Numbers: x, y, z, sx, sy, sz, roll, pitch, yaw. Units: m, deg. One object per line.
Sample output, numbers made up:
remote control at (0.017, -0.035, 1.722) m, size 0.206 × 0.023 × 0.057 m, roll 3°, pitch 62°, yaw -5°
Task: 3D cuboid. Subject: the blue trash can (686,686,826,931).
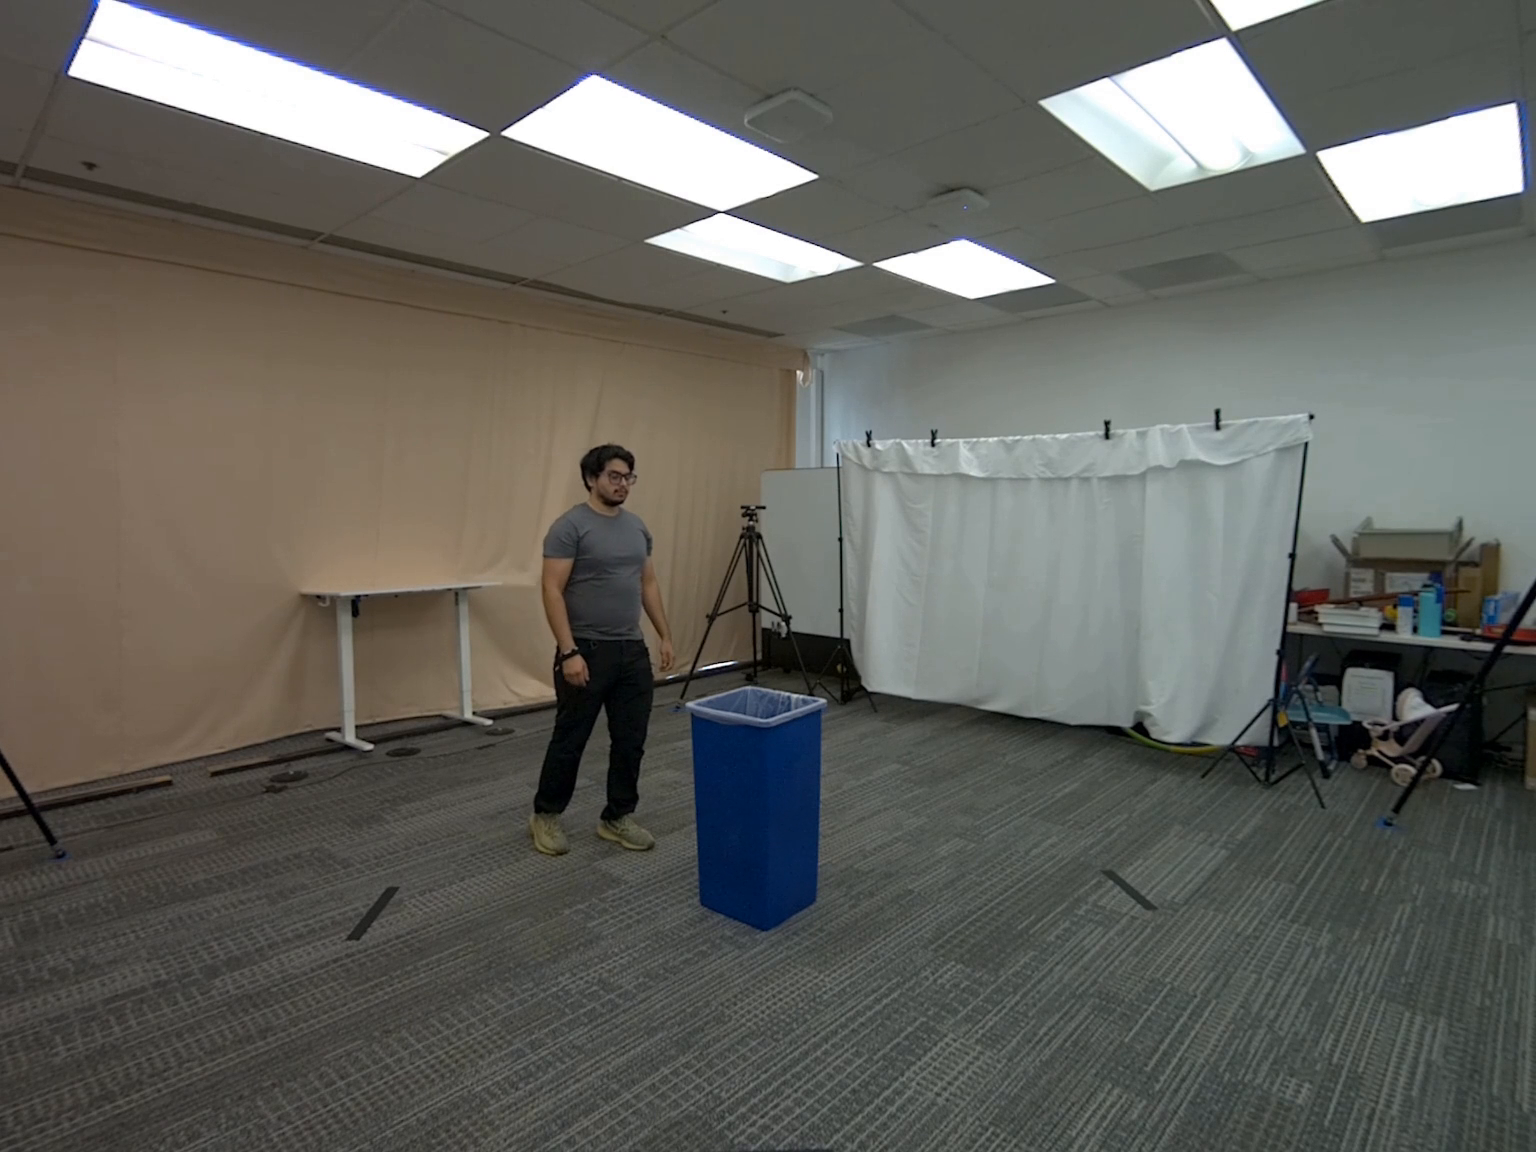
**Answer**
blue trash can at (-0.034, 0.790, 2.929) m, size 0.390 × 0.712 × 0.363 m, roll 2°, pitch 4°, yaw 39°
